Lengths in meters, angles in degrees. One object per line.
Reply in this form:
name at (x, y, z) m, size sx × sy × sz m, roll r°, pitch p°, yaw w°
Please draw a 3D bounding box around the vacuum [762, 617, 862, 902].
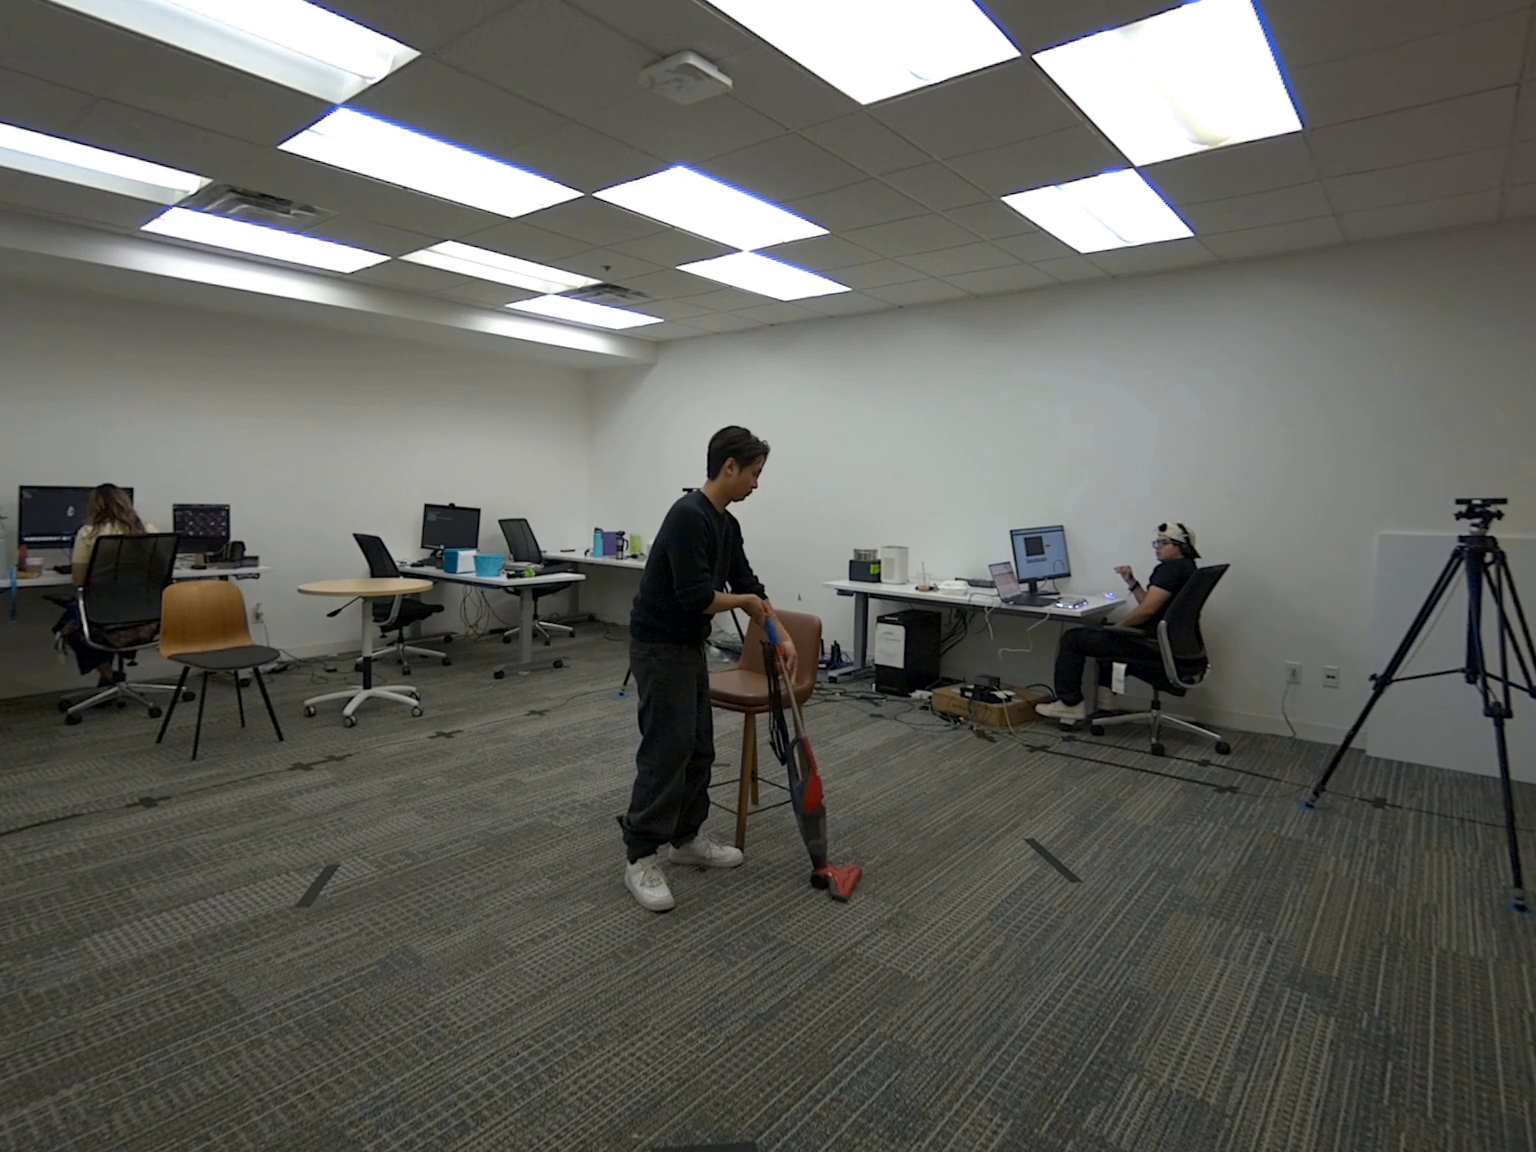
vacuum at (0.085, 0.595, 3.063) m, size 0.146 × 1.057 × 0.248 m, roll -18°, pitch -6°, yaw 17°
